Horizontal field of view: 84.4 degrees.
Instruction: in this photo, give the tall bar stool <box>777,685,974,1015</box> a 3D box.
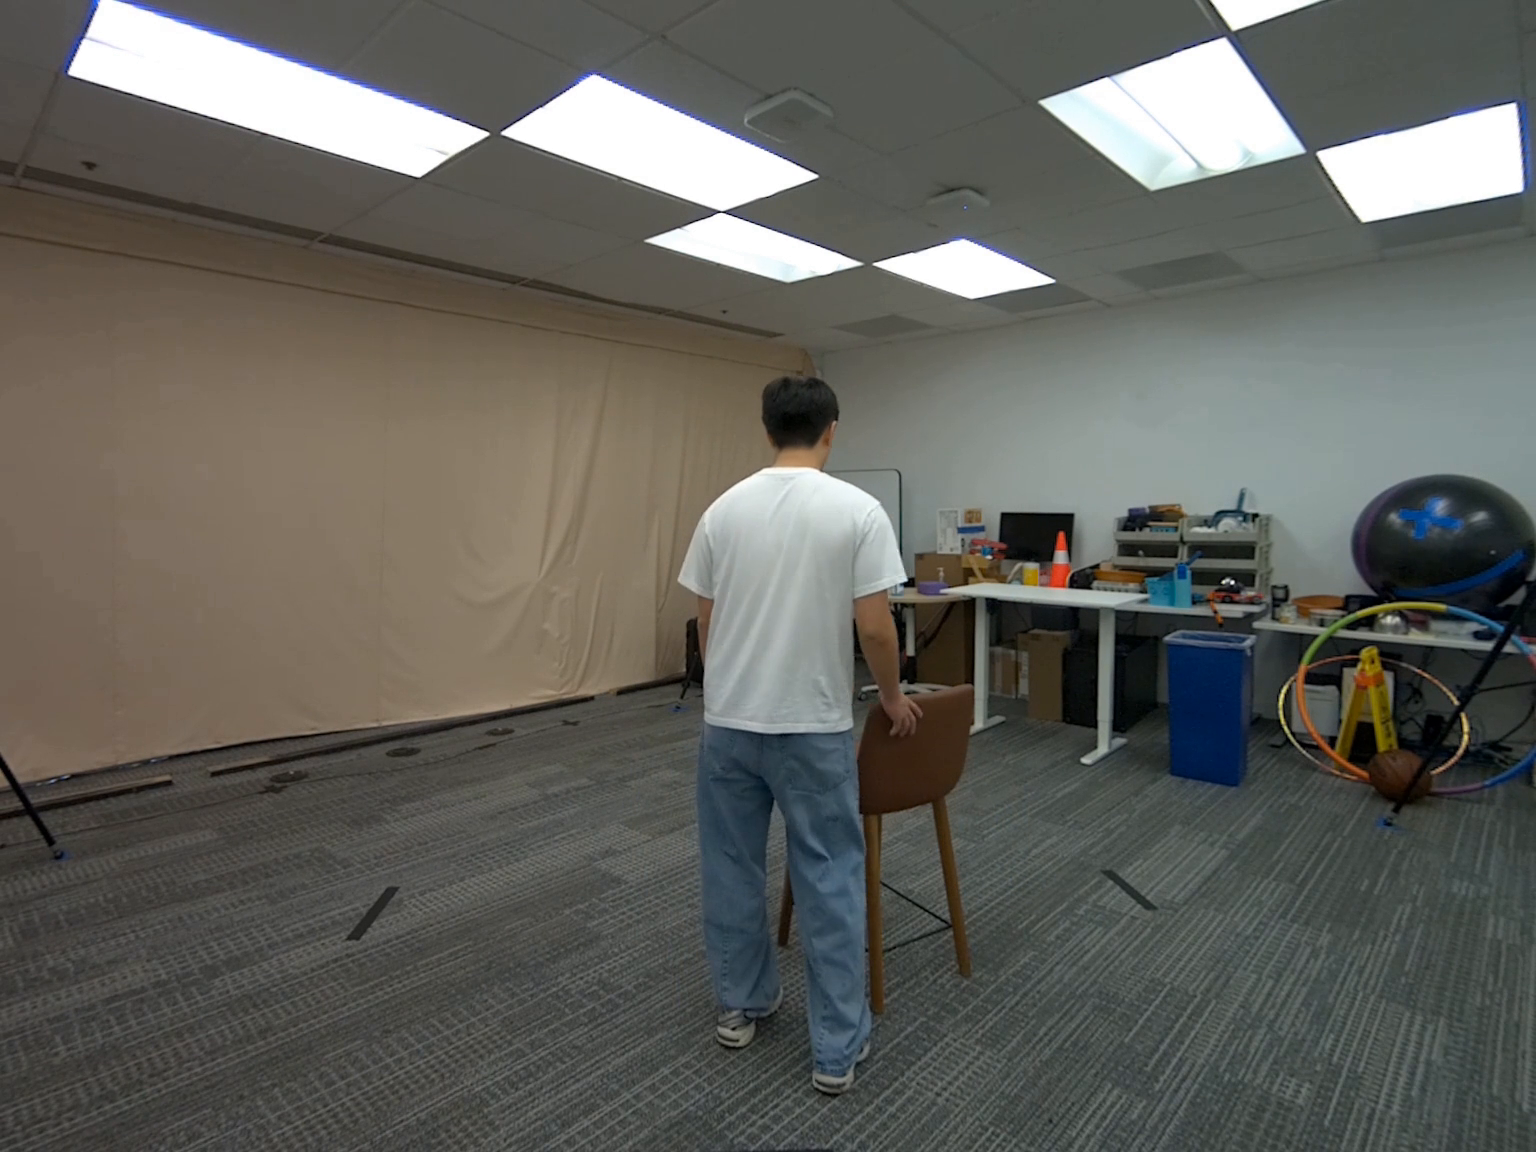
[{"bbox_3d":[0.335,0.745,2.562,0.443,0.887,0.482,-2,5,-34],"label":"tall bar stool"}]
